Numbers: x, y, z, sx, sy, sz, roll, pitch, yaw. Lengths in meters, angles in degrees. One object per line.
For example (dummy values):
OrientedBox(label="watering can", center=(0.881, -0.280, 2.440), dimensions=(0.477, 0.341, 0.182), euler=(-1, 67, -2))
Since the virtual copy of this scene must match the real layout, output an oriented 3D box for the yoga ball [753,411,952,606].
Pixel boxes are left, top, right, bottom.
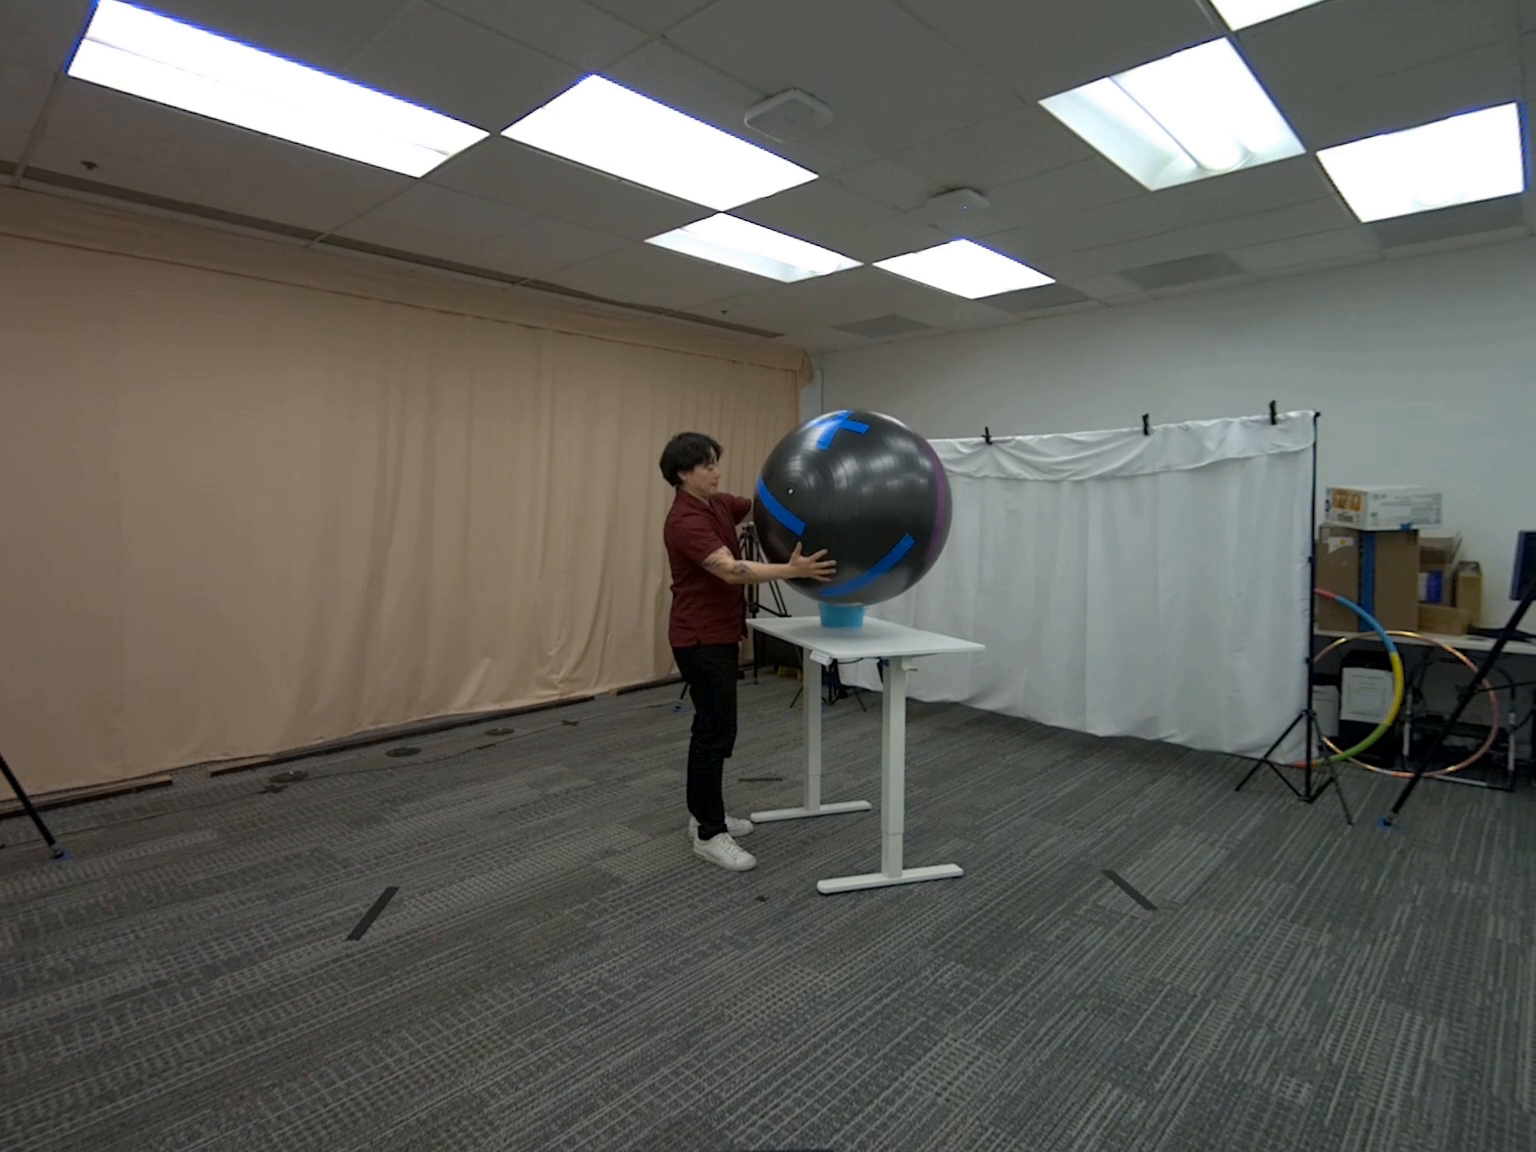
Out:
OrientedBox(label="yoga ball", center=(0.331, -0.254, 3.269), dimensions=(0.757, 0.756, 0.760), euler=(0, 4, -2))
